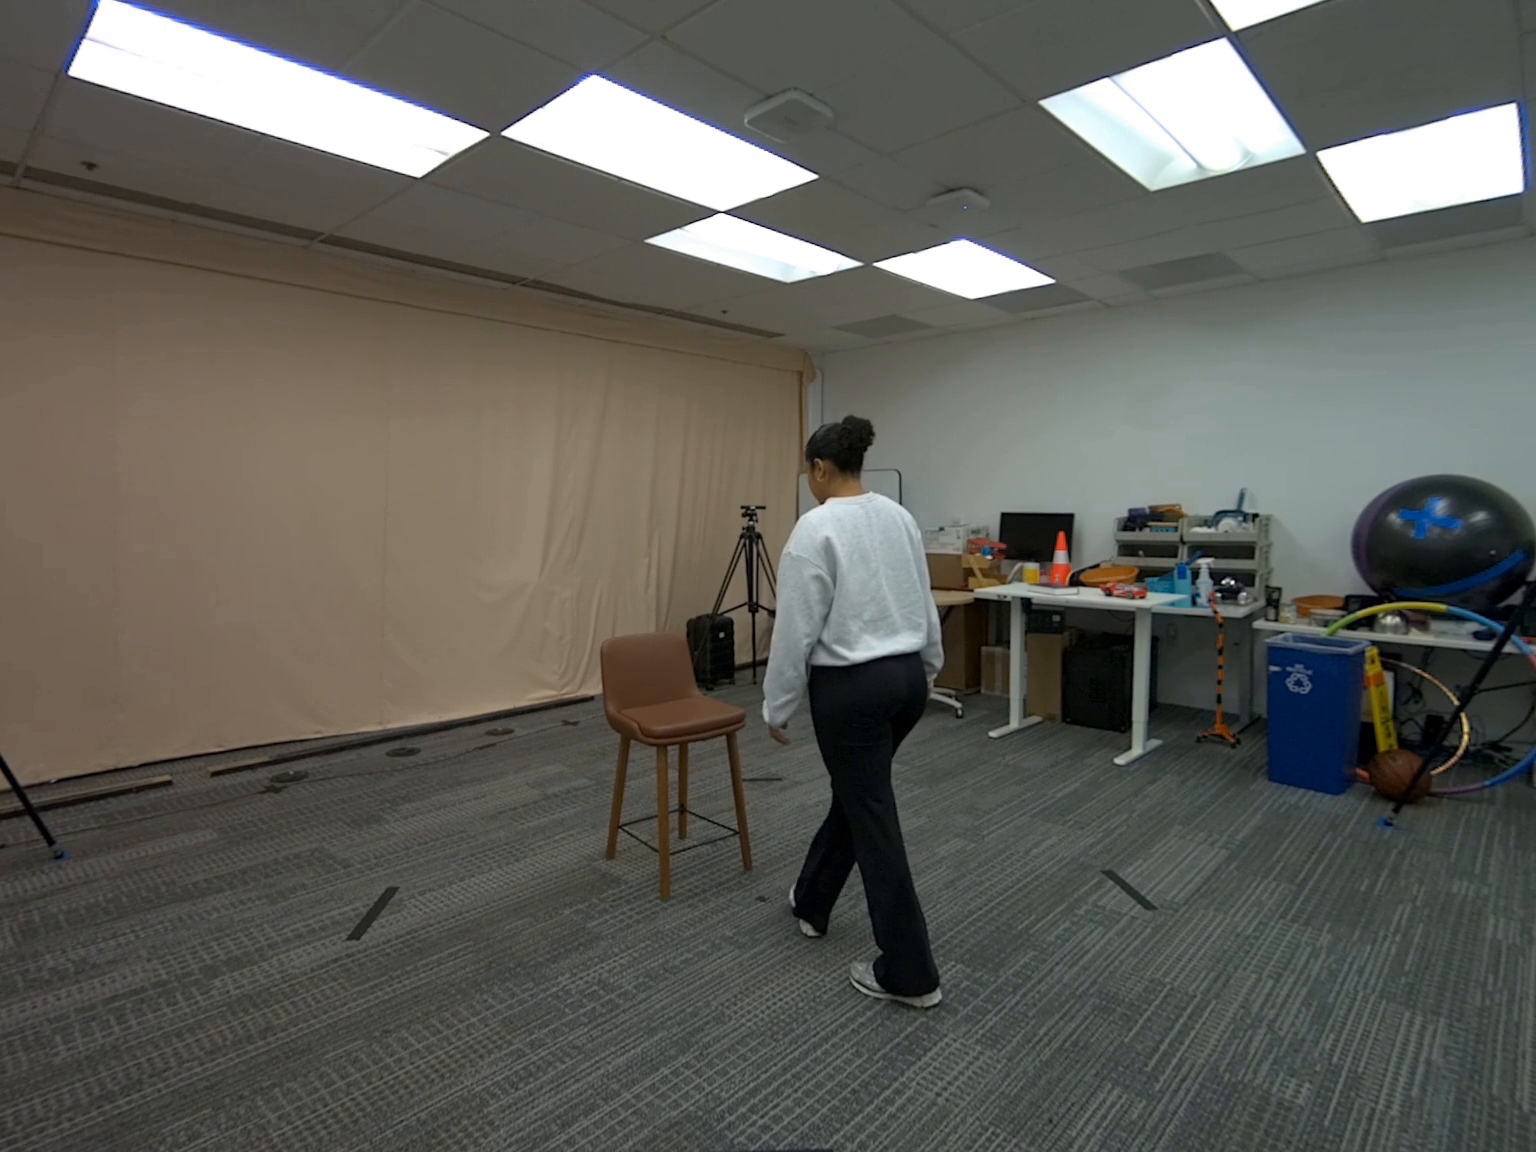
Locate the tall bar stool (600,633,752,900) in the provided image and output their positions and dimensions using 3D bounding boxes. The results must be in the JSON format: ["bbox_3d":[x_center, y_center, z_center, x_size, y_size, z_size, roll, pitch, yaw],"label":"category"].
[{"bbox_3d":[-0.365,0.688,3.253,0.443,0.889,0.482,-3,2,-38],"label":"tall bar stool"}]
